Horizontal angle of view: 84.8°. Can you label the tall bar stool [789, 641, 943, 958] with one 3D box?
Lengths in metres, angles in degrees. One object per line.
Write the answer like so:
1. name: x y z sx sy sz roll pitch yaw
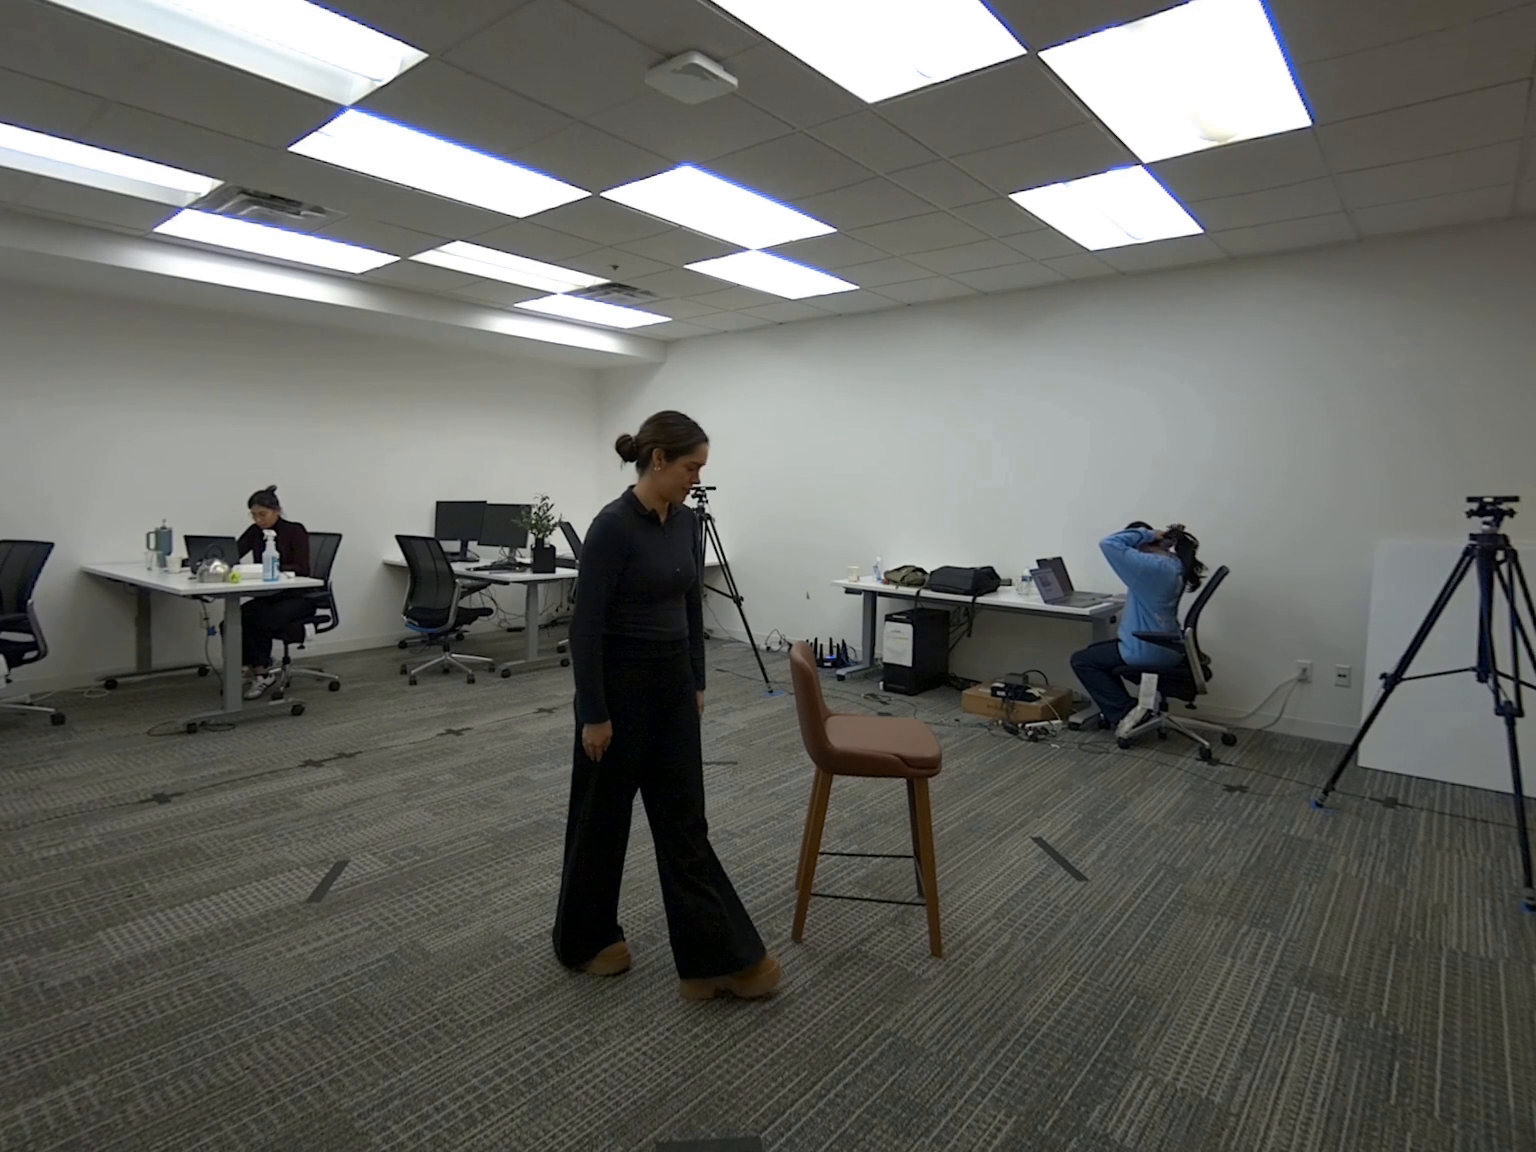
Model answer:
1. tall bar stool: 0.306 0.678 2.745 0.471 0.887 0.454 0 3 7
